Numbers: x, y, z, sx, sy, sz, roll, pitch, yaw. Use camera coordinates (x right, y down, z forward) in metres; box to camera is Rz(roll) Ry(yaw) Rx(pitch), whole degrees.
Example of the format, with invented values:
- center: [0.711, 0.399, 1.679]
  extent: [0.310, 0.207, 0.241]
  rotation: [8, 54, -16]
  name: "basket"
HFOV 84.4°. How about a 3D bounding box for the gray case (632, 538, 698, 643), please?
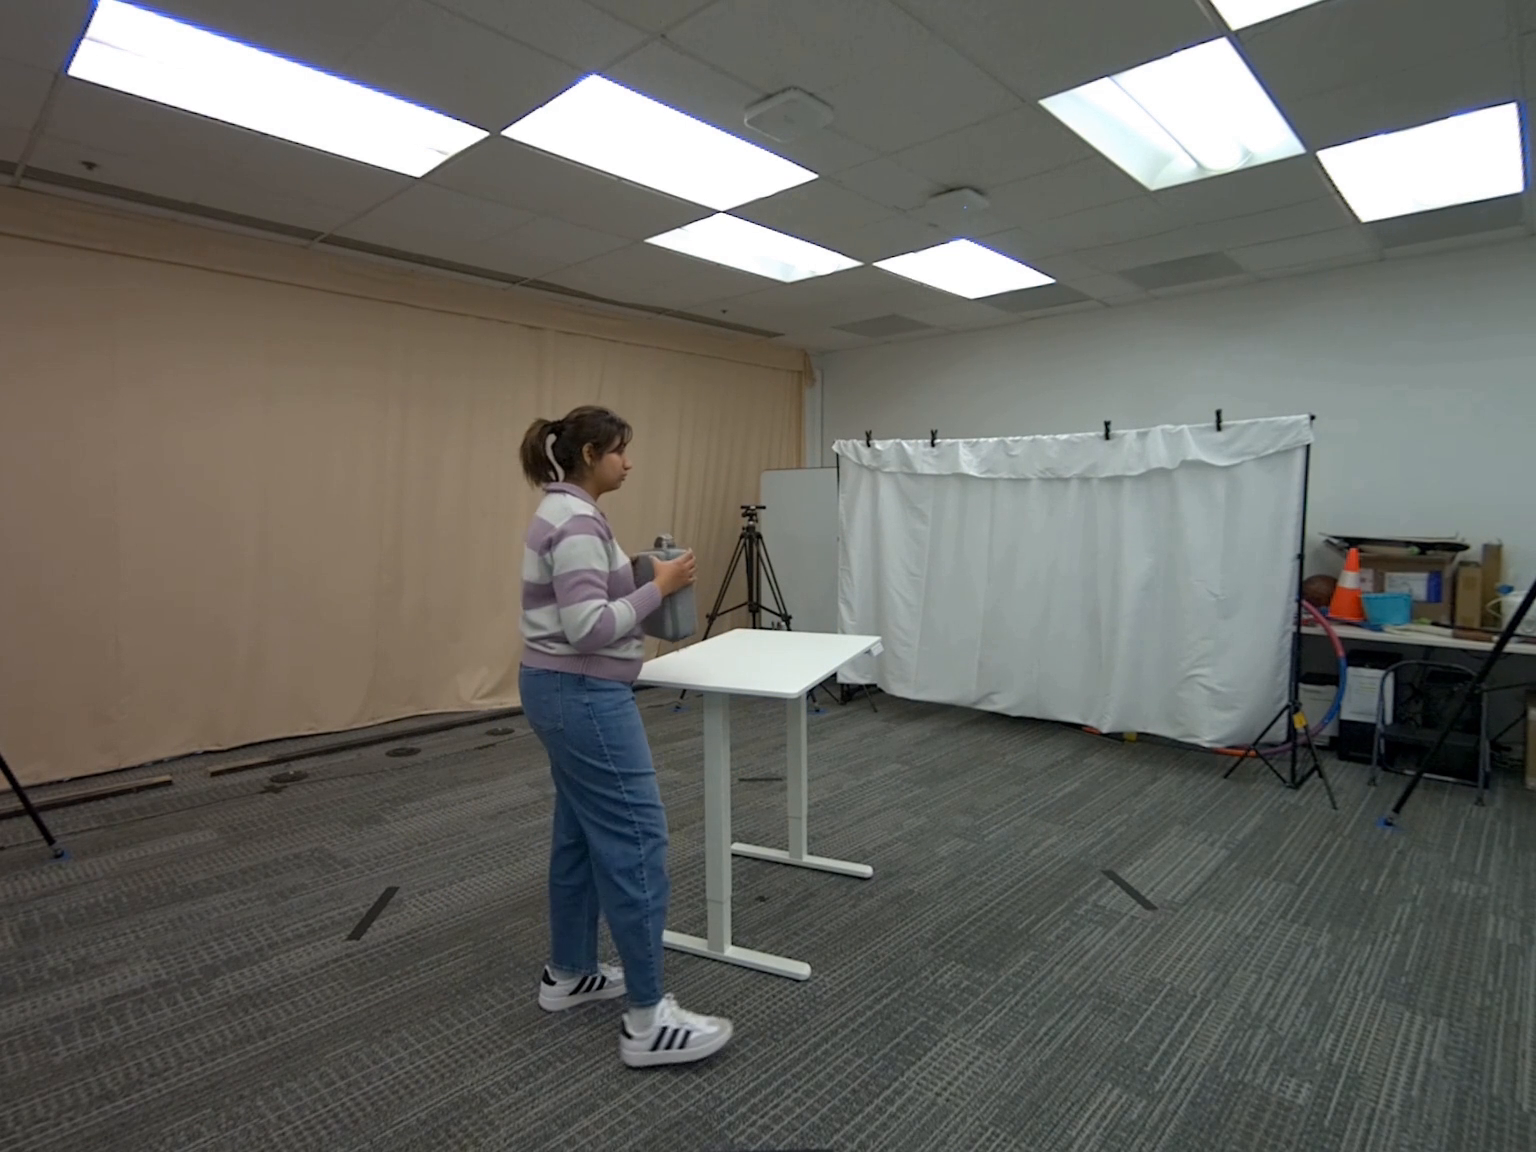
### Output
- center: [-0.295, 0.053, 2.403]
  extent: [0.102, 0.260, 0.263]
  rotation: [-5, 2, -27]
  name: "gray case"
